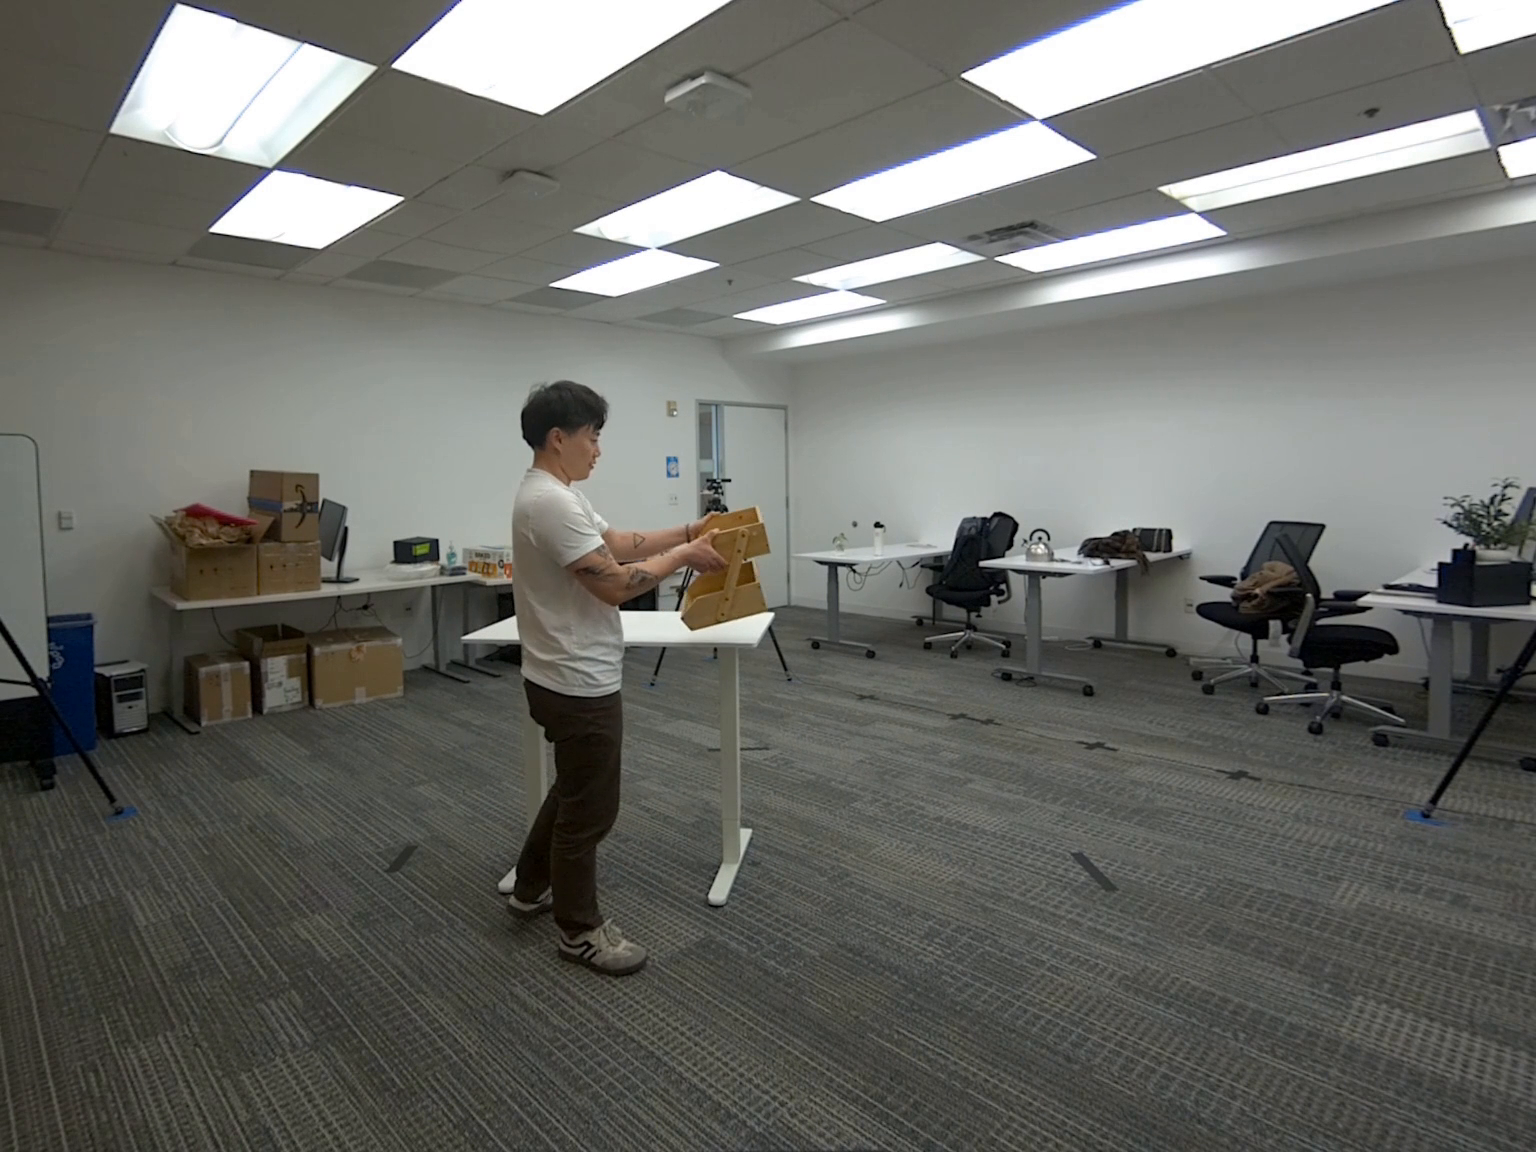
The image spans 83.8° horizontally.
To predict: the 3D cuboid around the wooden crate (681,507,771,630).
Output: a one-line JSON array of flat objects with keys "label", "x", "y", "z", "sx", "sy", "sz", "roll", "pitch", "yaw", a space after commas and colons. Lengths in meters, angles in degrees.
[{"label": "wooden crate", "x": -0.160, "y": -0.034, "z": 2.593, "sx": 0.303, "sy": 0.270, "sz": 0.327, "roll": -14, "pitch": 11, "yaw": 3}]
